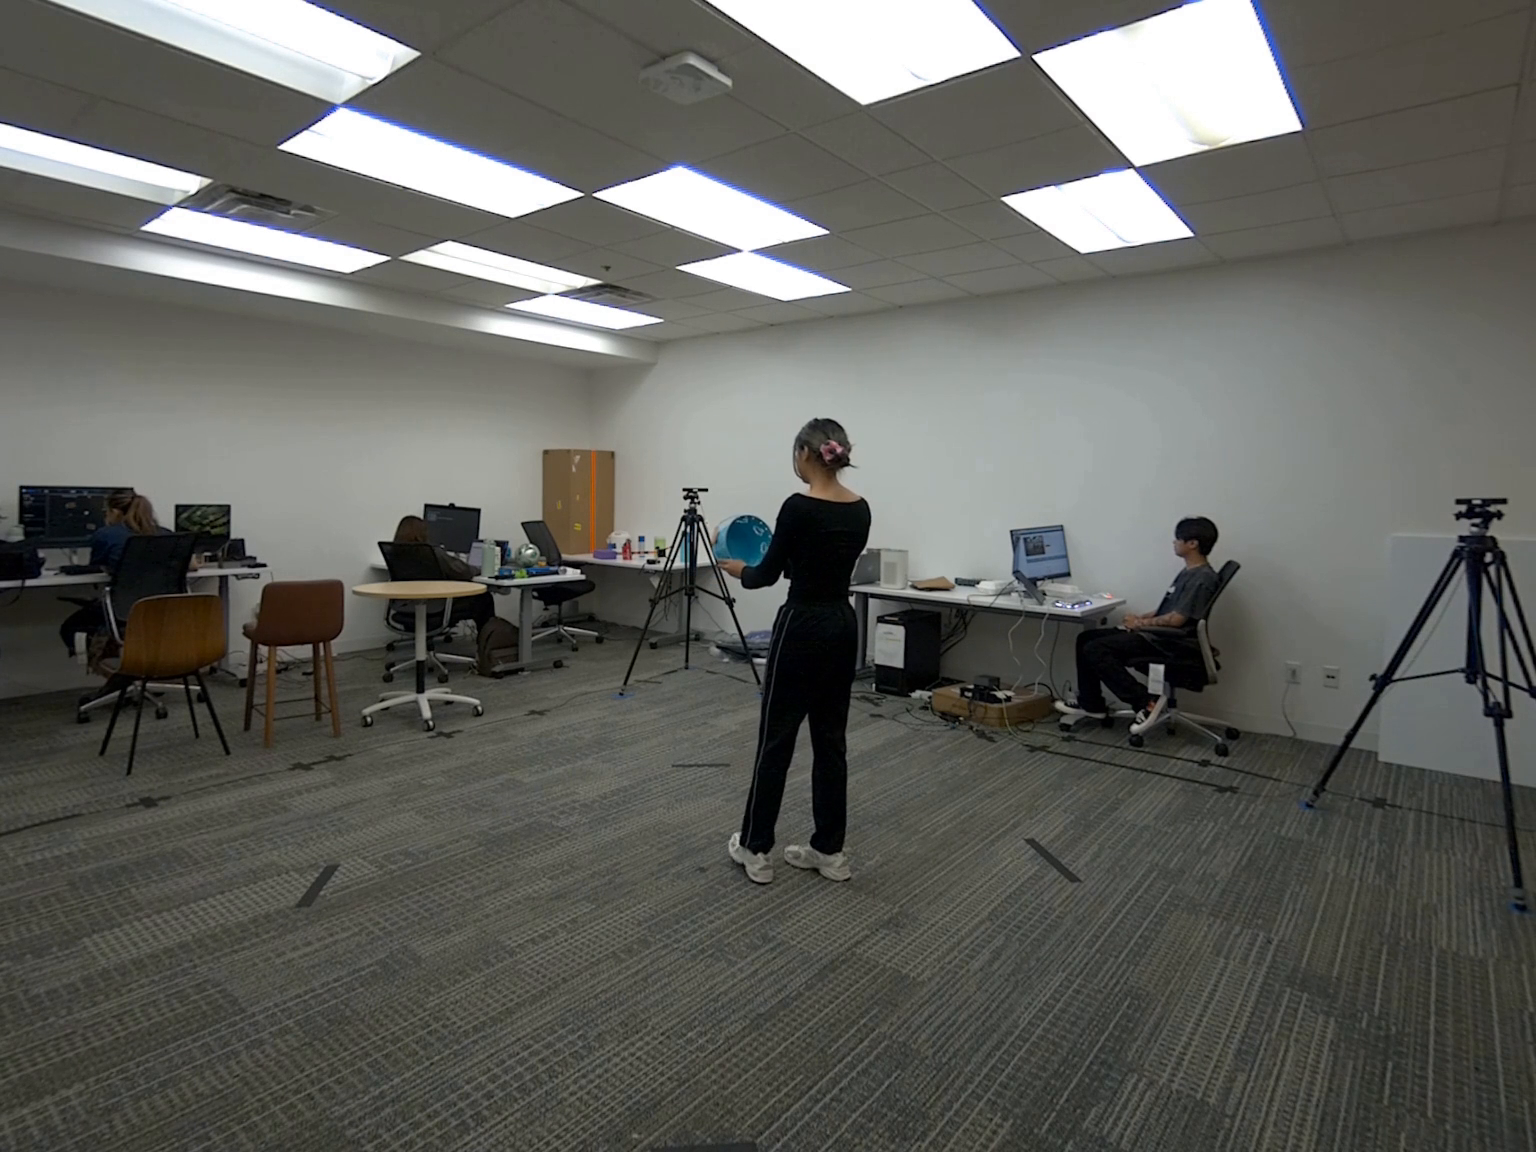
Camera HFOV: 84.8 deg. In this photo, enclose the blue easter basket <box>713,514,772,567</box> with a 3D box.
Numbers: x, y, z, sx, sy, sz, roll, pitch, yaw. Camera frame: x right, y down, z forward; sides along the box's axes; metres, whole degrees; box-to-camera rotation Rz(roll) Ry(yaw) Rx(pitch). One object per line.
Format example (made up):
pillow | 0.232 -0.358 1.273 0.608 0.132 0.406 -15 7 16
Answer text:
blue easter basket | -0.118 -0.122 3.458 0.237 0.245 0.159 -2 -8 -31
